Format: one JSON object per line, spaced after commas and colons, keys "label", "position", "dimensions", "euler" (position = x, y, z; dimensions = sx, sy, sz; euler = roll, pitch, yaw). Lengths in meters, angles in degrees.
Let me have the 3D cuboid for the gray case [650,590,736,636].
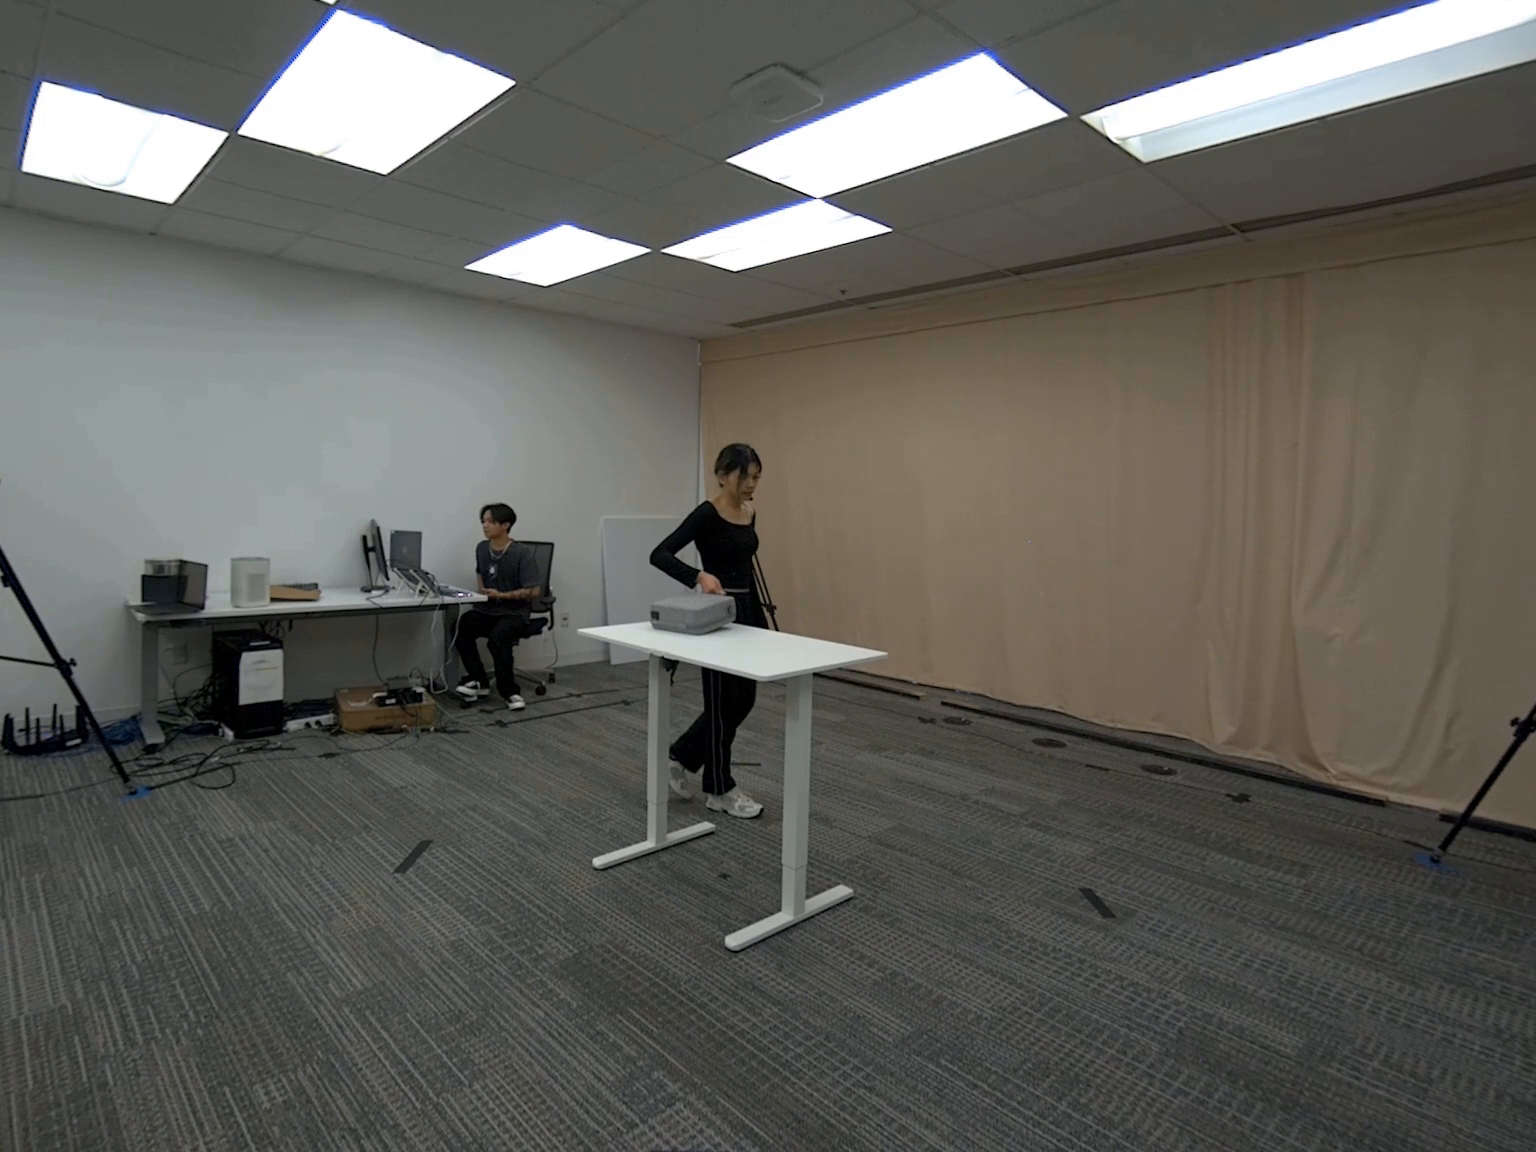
{"label": "gray case", "position": [-0.298, 0.141, 3.247], "dimensions": [0.263, 0.103, 0.256], "euler": [4, 13, 37]}
